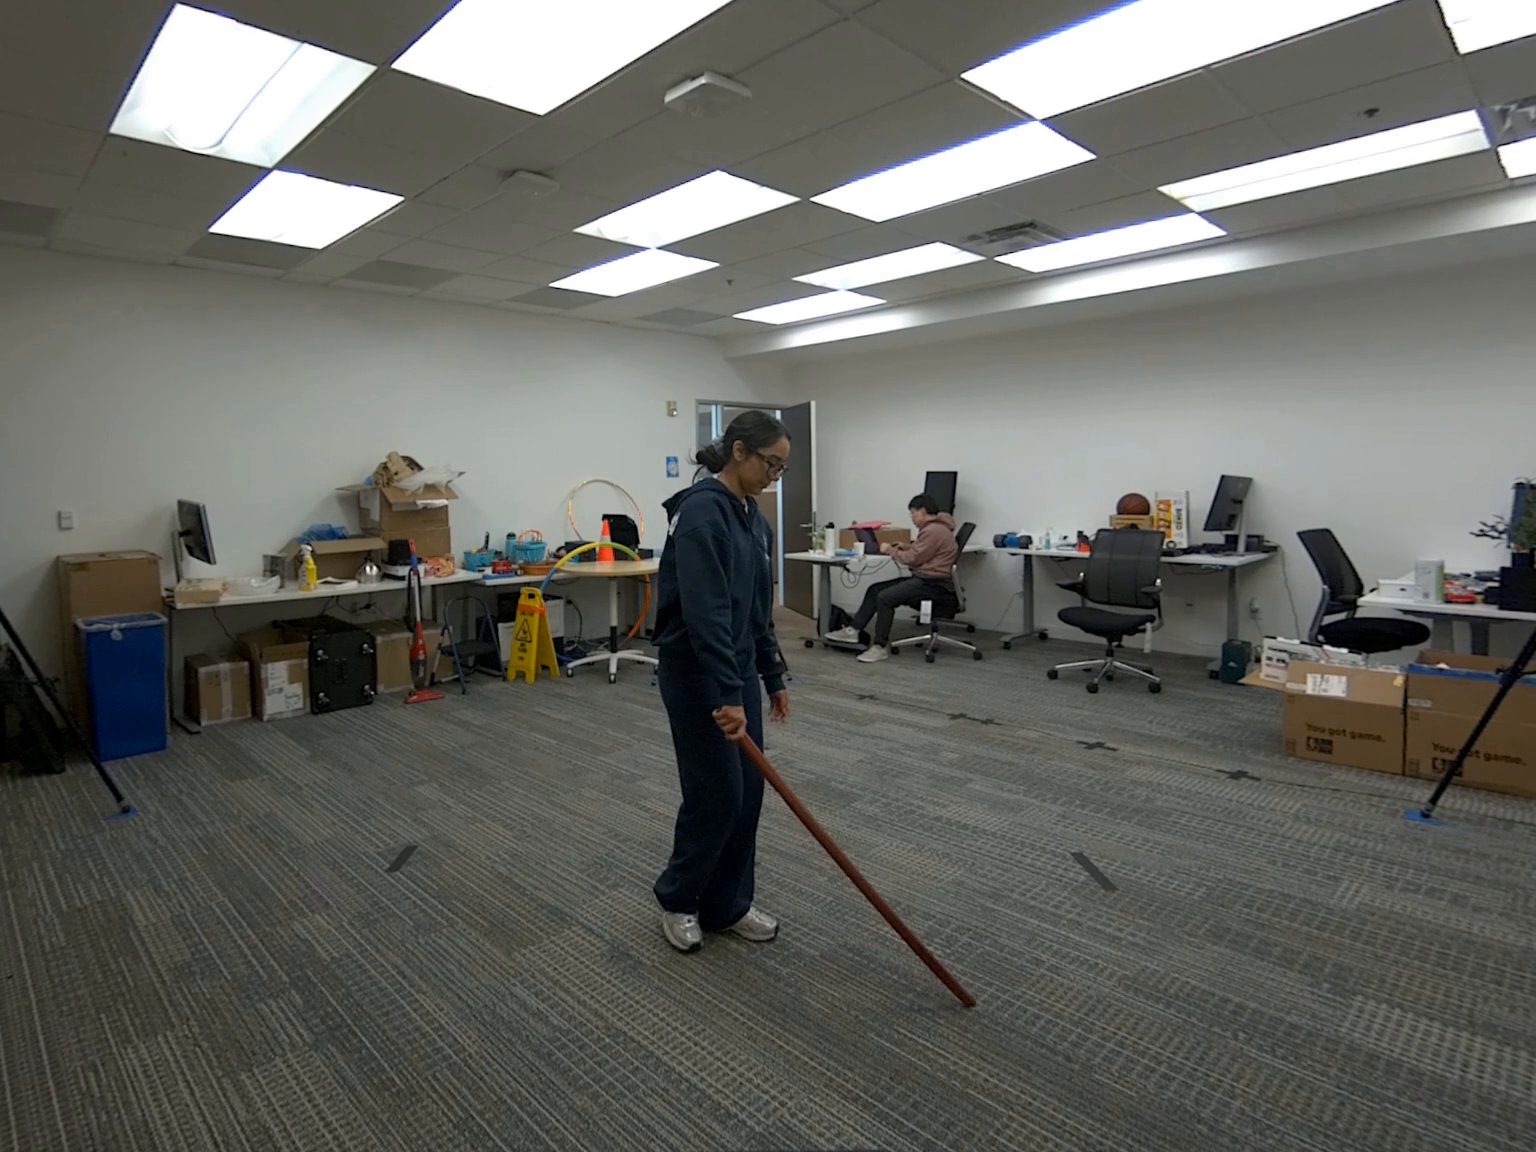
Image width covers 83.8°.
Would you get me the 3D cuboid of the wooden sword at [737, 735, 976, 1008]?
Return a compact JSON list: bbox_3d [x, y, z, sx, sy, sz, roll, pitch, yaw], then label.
[{"bbox_3d":[0.197,0.747,2.273,0.051,1.029,0.024,-44,-4,33],"label":"wooden sword"}]
